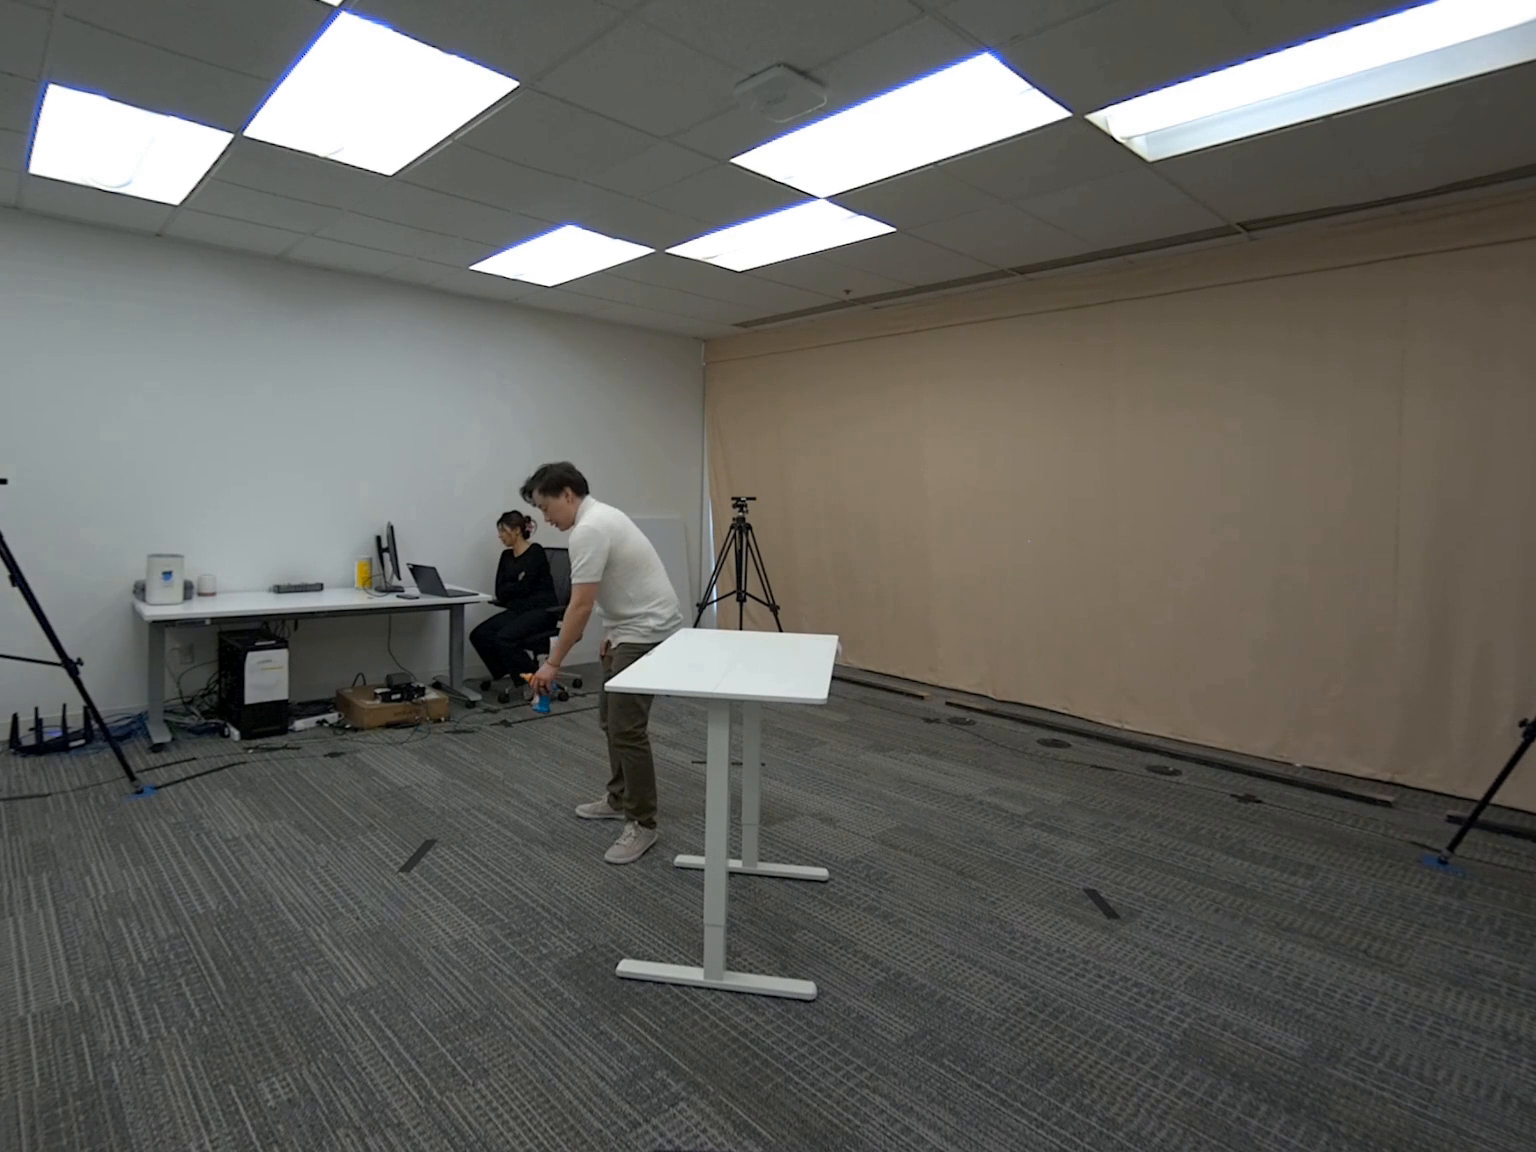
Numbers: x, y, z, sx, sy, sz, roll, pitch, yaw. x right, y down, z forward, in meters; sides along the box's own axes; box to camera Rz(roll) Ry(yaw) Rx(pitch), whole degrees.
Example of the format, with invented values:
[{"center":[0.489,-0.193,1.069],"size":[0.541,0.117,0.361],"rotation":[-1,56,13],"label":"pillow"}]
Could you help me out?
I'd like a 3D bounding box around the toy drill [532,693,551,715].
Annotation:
[{"center":[-0.892,0.456,3.286],"size":[0.172,0.145,0.060],"rotation":[12,8,13],"label":"toy drill"}]
